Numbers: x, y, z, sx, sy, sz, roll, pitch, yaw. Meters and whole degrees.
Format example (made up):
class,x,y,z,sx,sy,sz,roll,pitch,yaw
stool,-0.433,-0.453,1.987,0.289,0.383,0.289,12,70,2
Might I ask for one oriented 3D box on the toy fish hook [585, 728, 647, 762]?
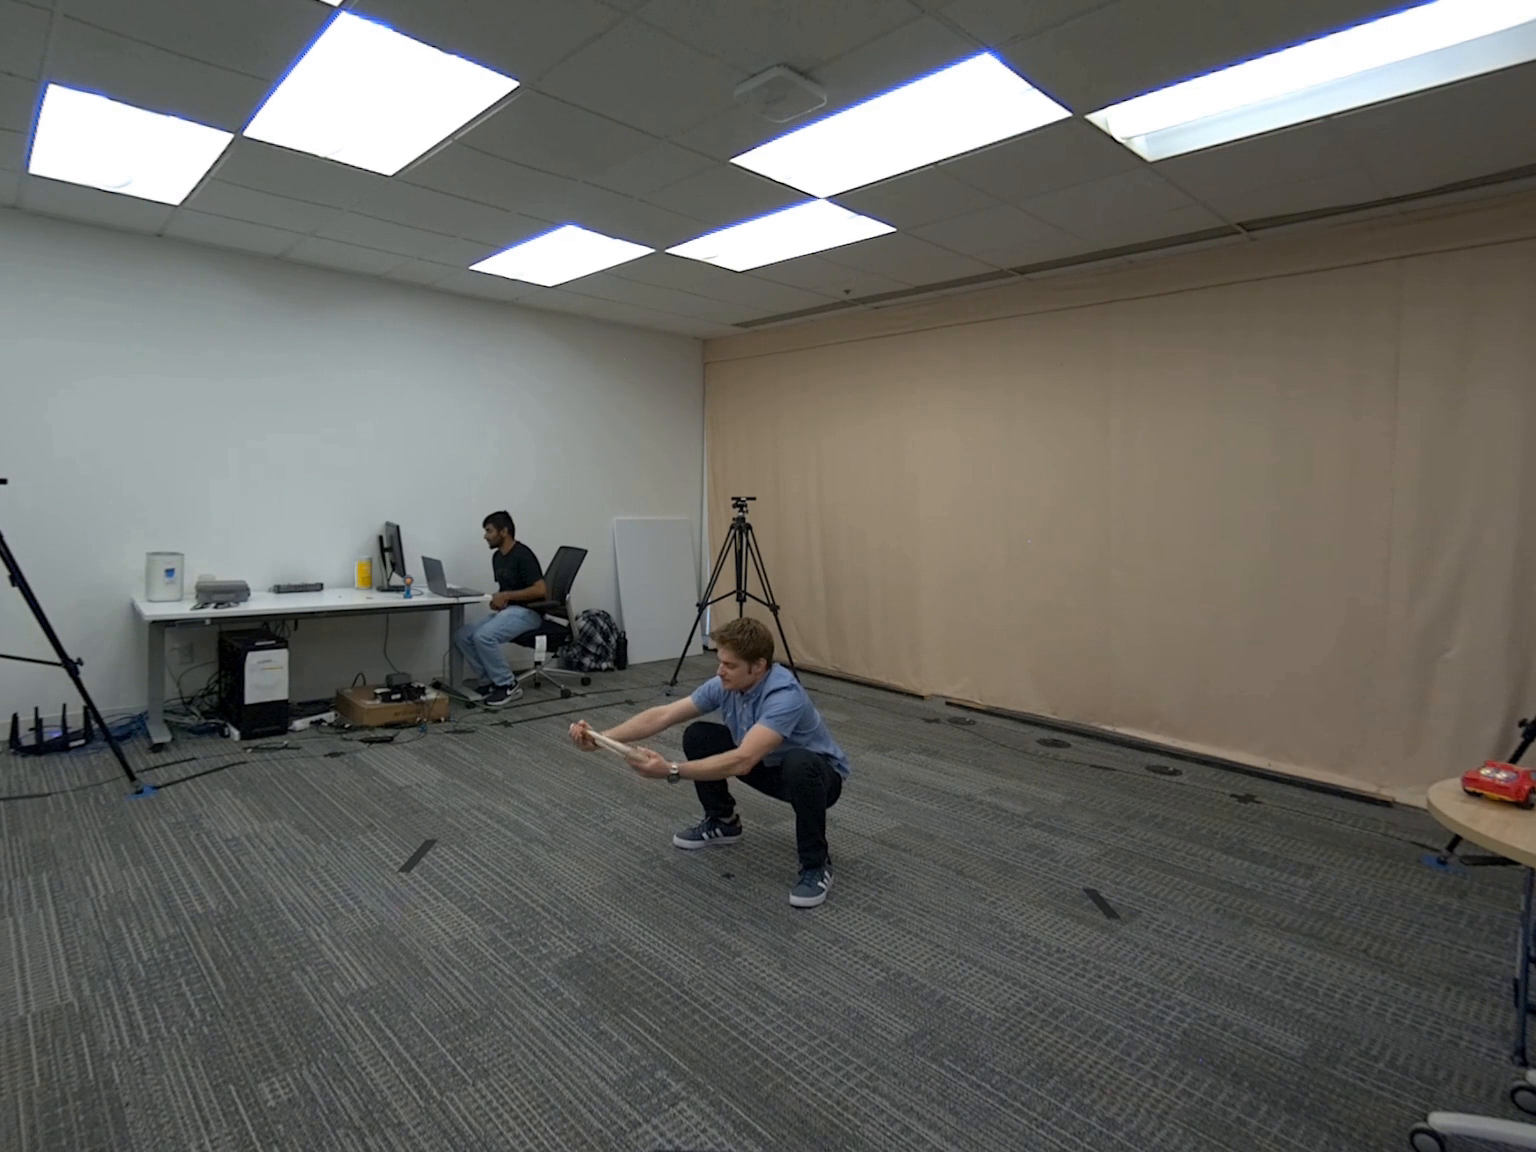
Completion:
class,x,y,z,sx,sy,sz,roll,pitch,yaw
toy fish hook,-0.581,0.569,2.940,0.520,0.048,0.218,7,-30,48
